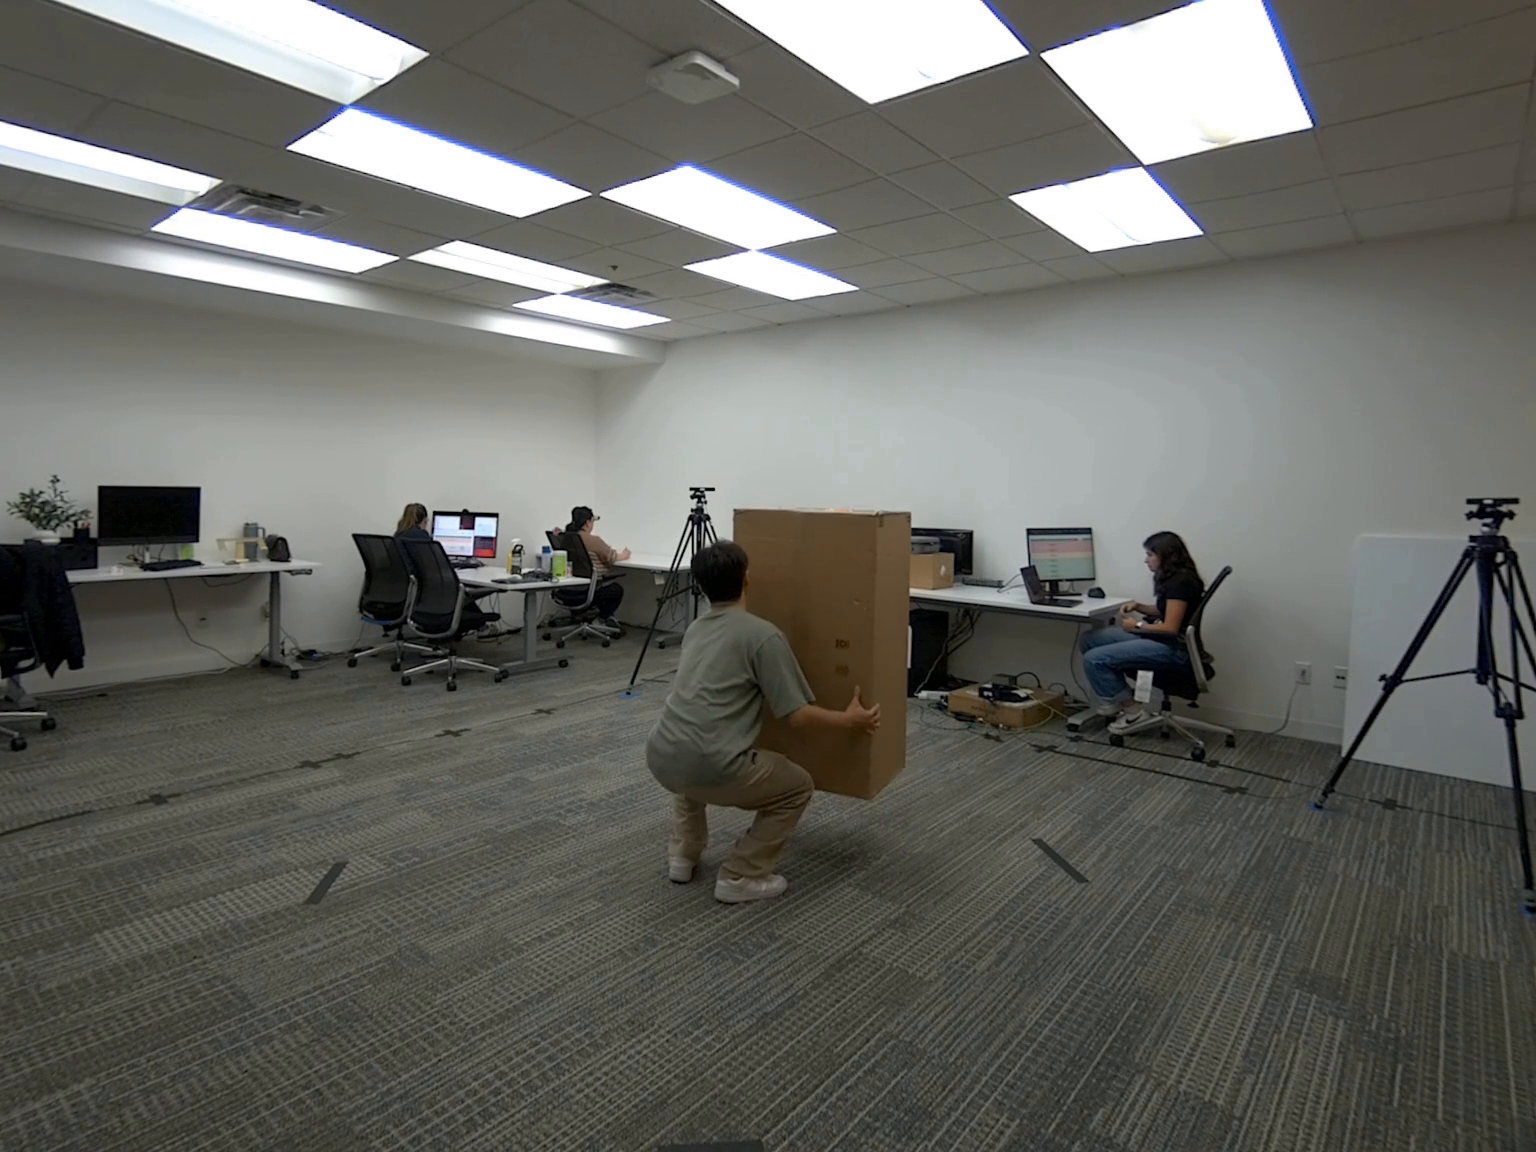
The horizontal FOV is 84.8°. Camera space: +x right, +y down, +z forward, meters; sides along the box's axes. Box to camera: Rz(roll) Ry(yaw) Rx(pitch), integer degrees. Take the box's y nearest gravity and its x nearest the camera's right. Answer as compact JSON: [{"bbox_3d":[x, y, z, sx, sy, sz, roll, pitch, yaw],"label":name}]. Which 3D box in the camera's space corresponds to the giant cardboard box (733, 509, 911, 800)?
[{"bbox_3d":[0.201,0.255,3.312,0.594,1.022,0.416,3,4,28],"label":"giant cardboard box"}]
